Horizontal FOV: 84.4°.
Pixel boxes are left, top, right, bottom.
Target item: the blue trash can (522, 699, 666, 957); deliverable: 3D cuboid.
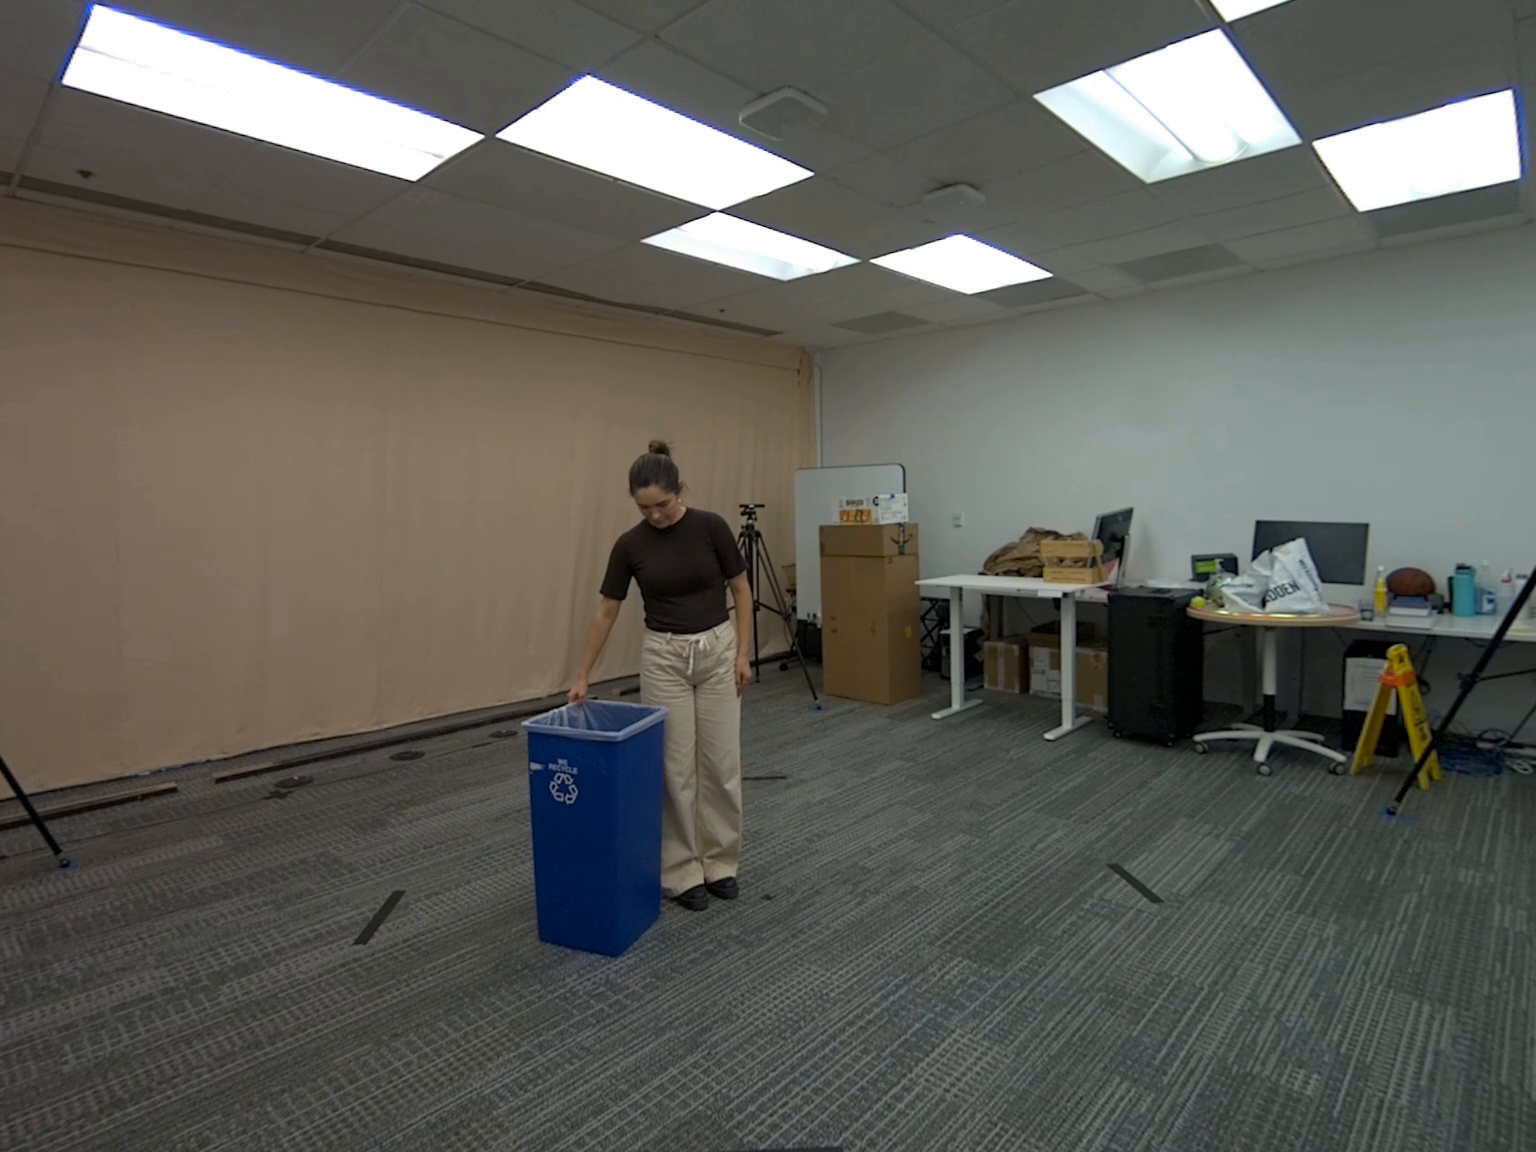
[{"bbox_3d":[-0.554,0.813,2.767,0.387,0.712,0.366,1,2,22],"label":"blue trash can"}]
